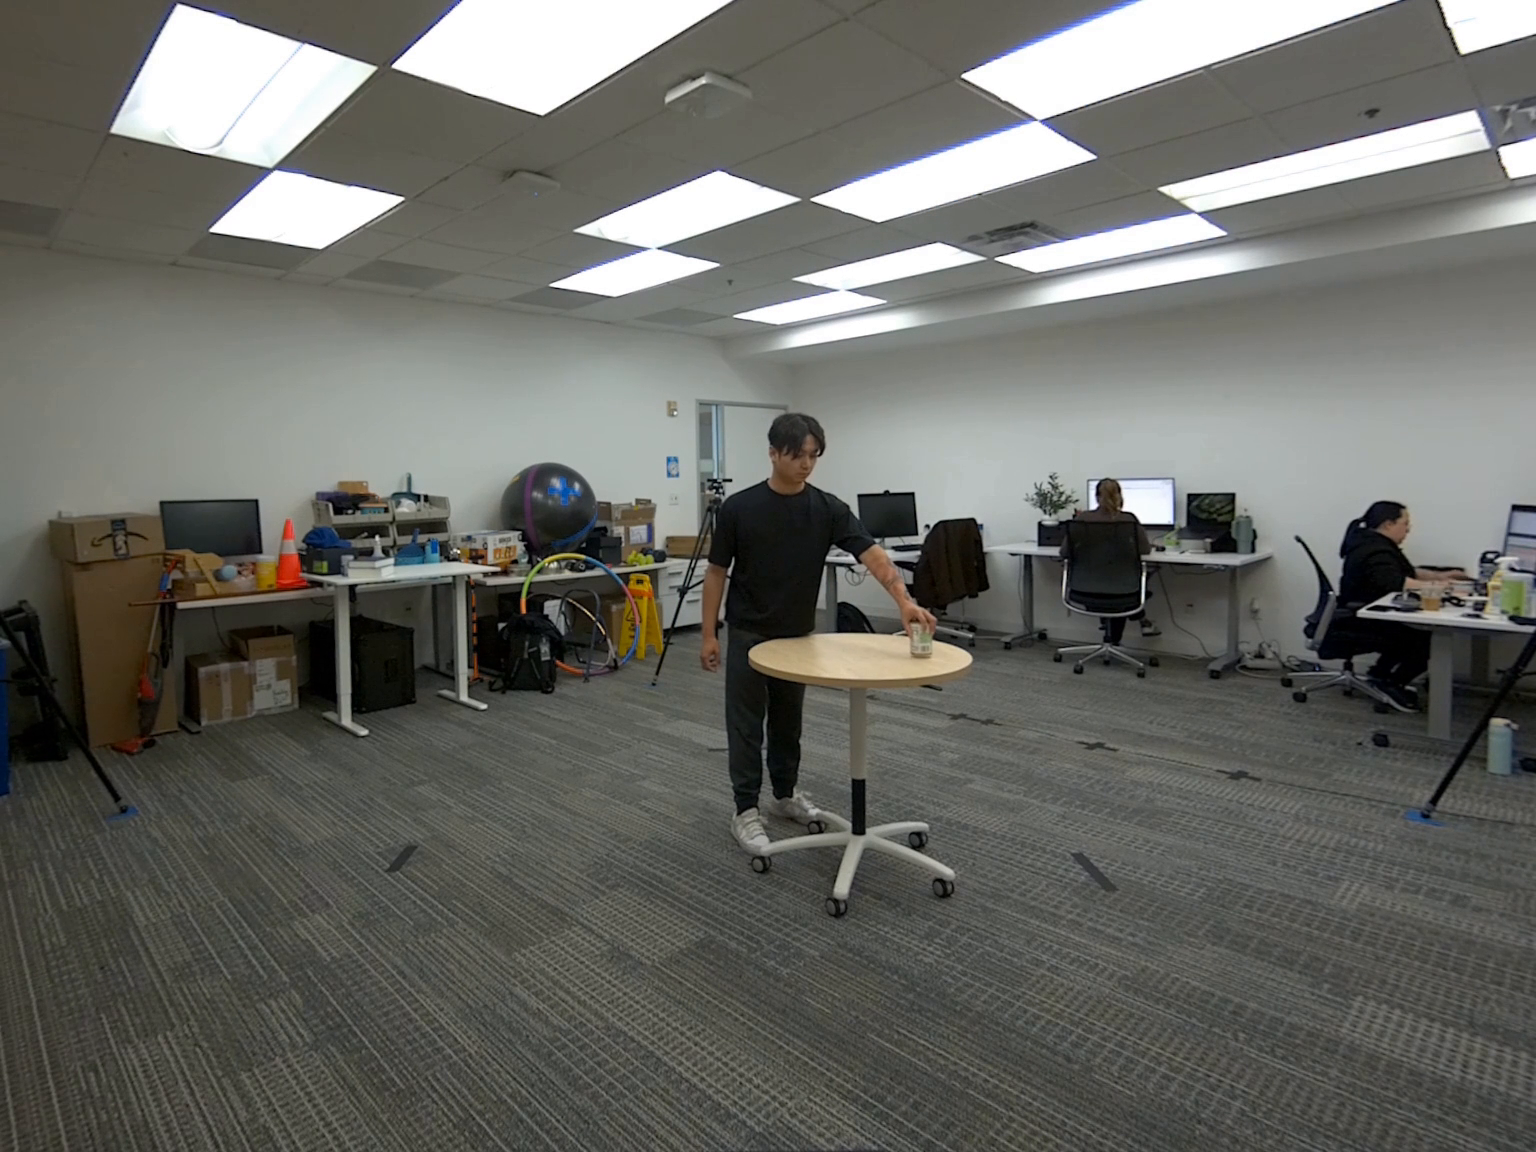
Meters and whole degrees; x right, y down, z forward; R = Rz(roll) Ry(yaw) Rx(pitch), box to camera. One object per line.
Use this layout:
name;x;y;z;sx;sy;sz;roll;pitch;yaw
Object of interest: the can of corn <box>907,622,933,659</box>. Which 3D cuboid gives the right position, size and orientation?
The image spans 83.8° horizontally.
can of corn;0.523;0.209;2.904;0.074;0.111;0.074;-4;3;-1
